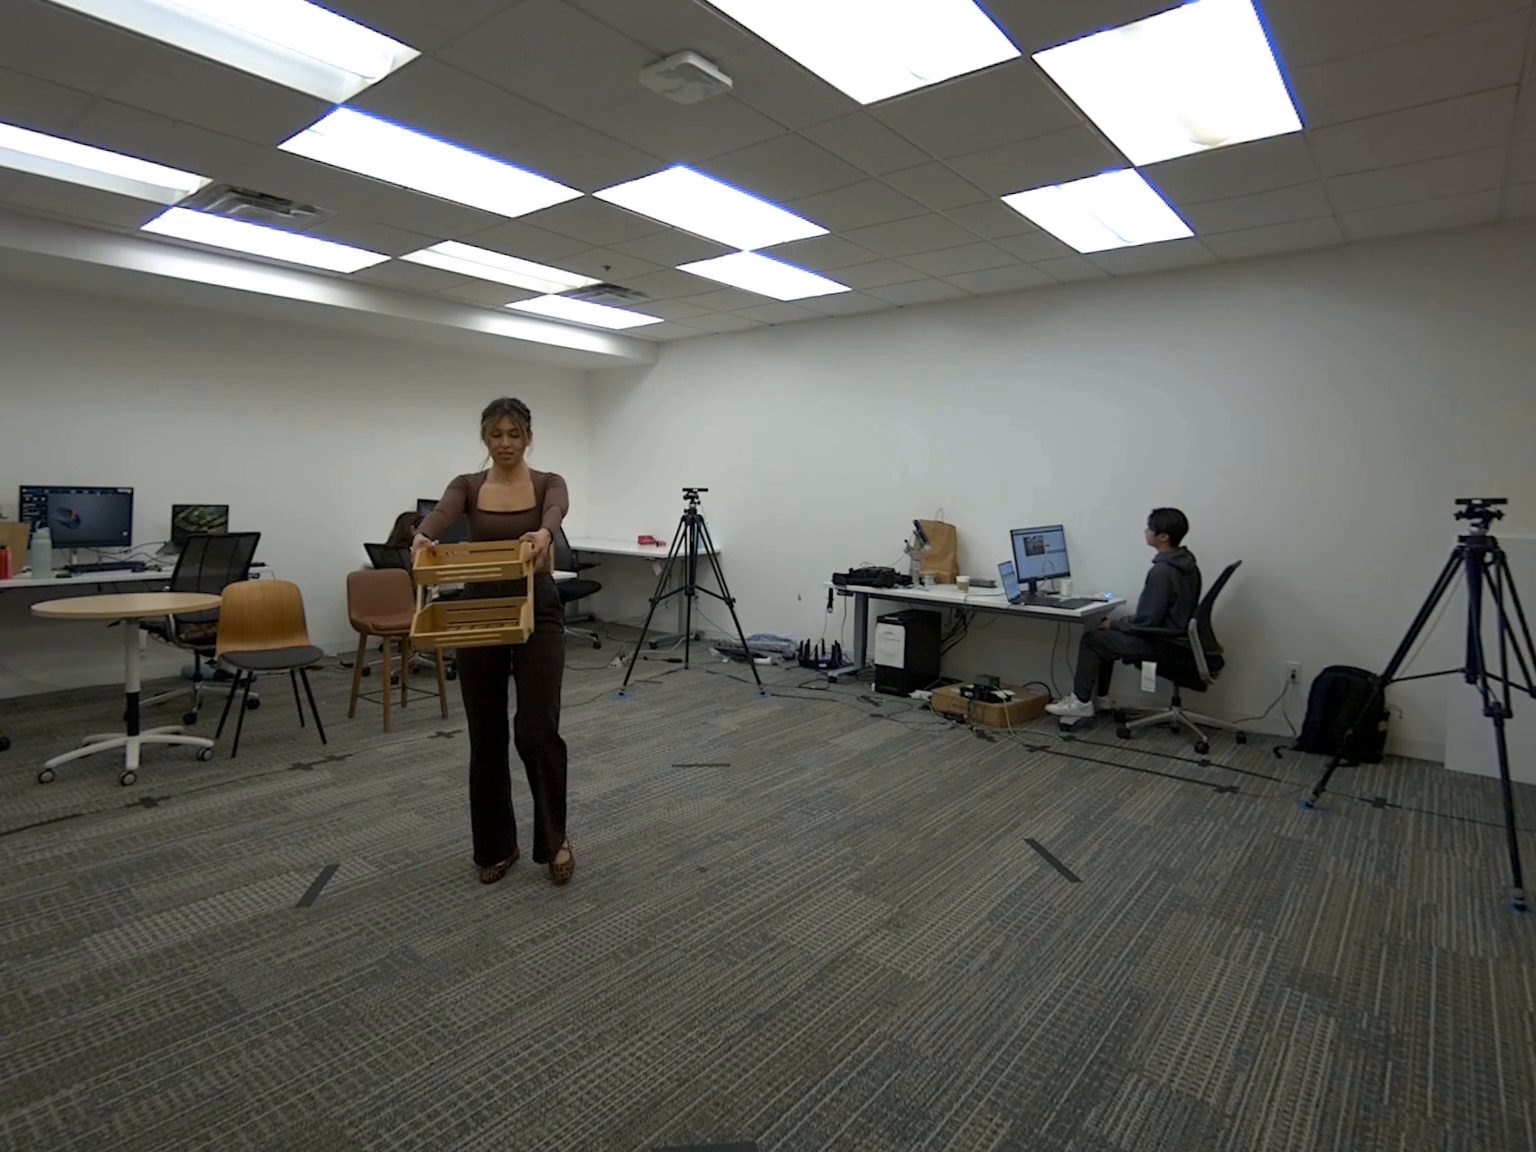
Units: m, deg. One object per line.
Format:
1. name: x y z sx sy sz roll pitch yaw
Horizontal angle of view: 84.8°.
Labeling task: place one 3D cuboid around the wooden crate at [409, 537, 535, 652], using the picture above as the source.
1. wooden crate: -0.870 0.044 2.446 0.324 0.272 0.304 -2 7 -3
